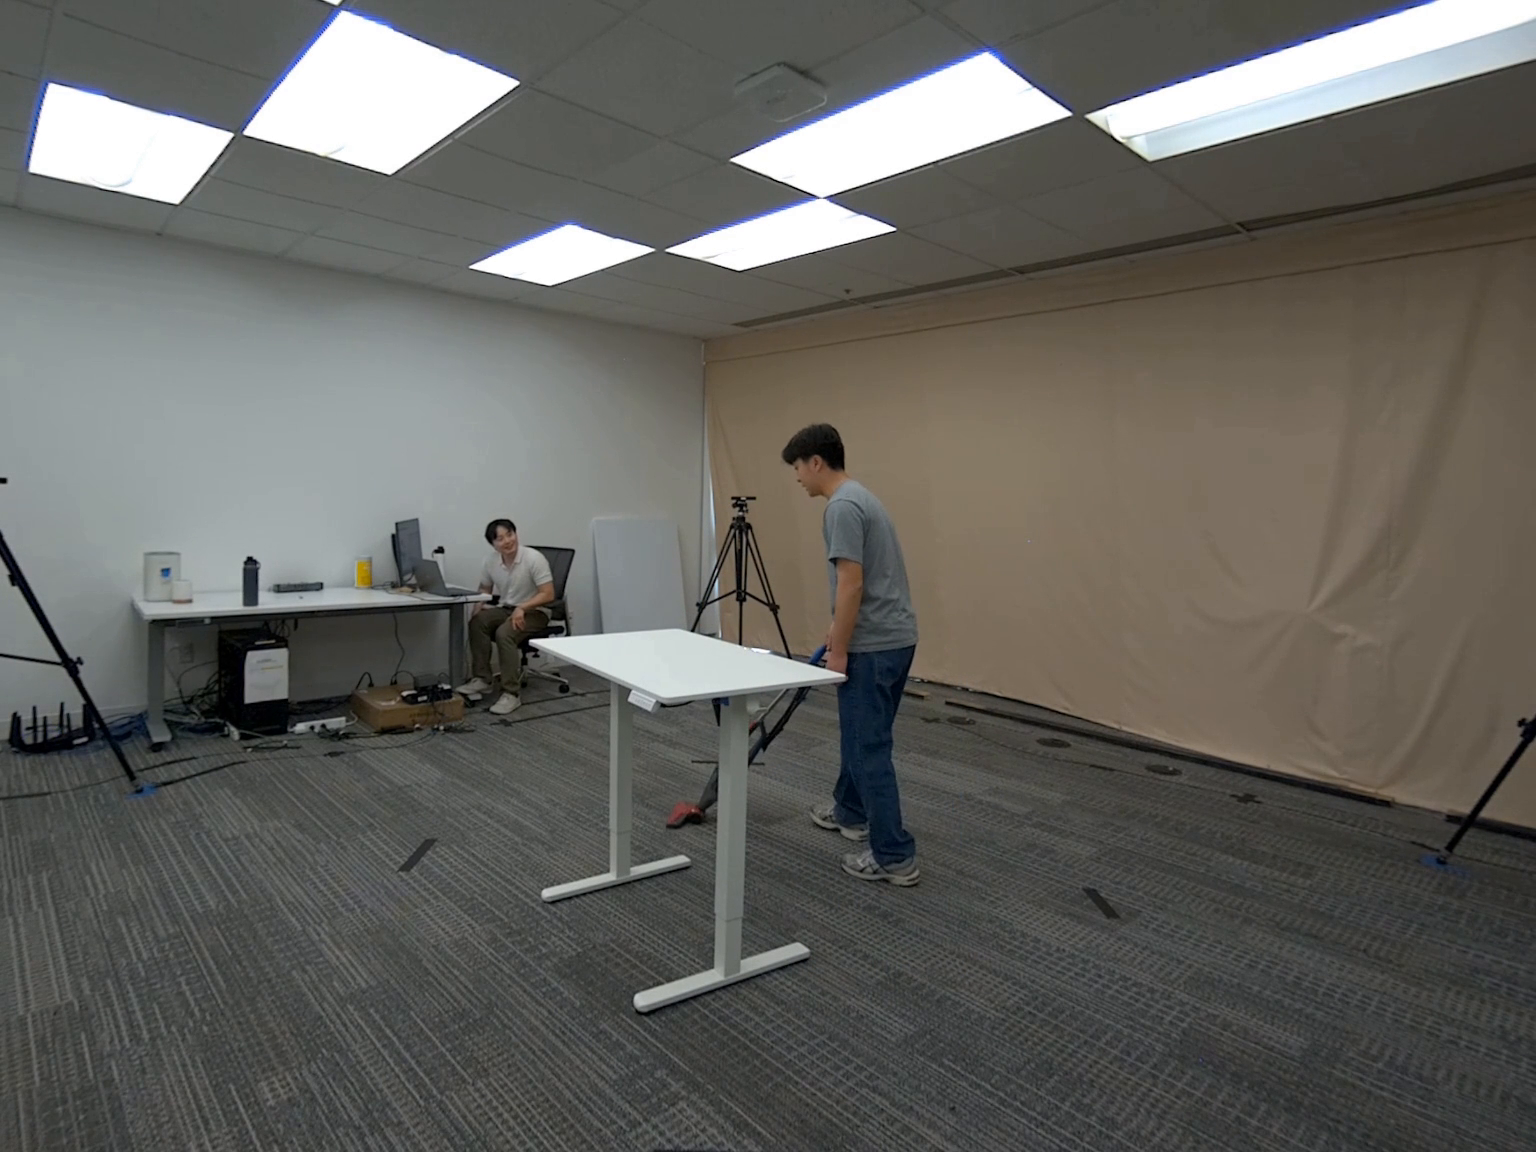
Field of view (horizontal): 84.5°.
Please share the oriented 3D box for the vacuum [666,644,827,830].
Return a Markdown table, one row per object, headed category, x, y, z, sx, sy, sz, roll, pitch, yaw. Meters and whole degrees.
| category | x | y | z | sx | sy | sz | roll | pitch | yaw |
| --- | --- | --- | --- | --- | --- | --- | --- | --- | --- |
| vacuum | -0.025 | 0.658 | 3.584 | 0.144 | 1.049 | 0.252 | 41 | 8 | 1 |
